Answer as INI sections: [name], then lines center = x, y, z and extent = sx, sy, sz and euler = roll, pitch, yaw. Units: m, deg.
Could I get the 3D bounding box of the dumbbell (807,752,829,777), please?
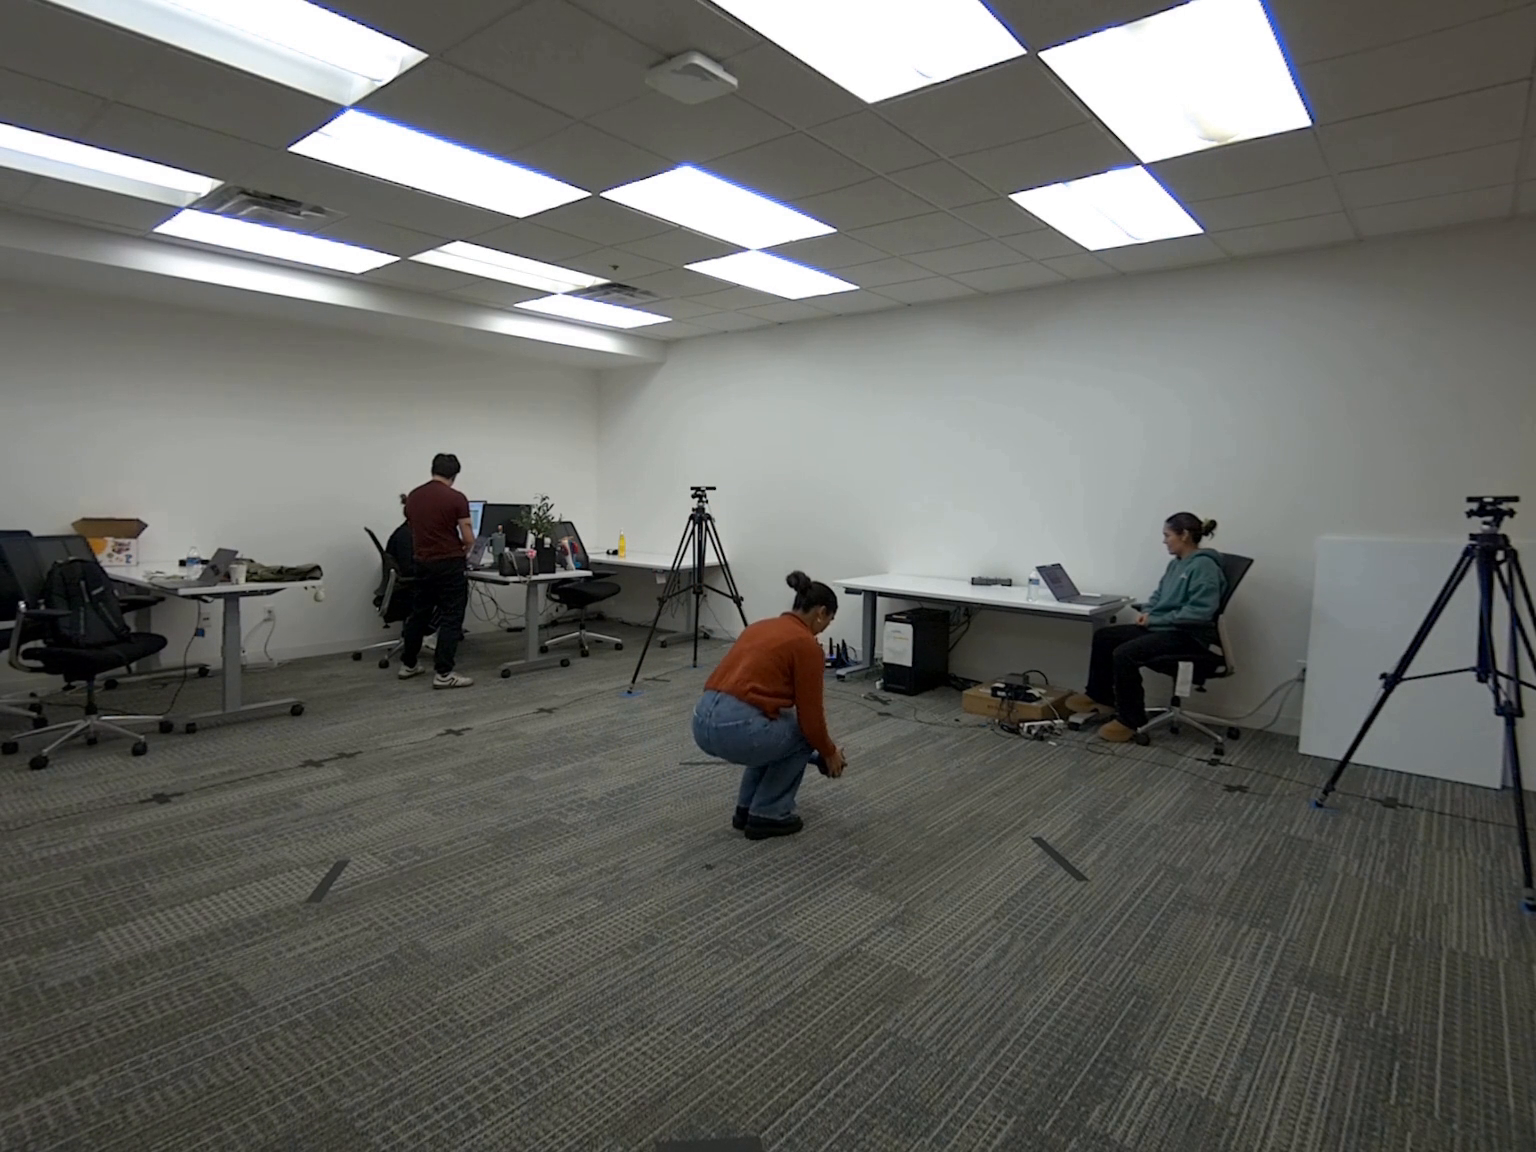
[dumbbell]
center = 0.177, 0.777, 3.673
extent = 0.107, 0.120, 0.303
euler = -34, 22, -35
